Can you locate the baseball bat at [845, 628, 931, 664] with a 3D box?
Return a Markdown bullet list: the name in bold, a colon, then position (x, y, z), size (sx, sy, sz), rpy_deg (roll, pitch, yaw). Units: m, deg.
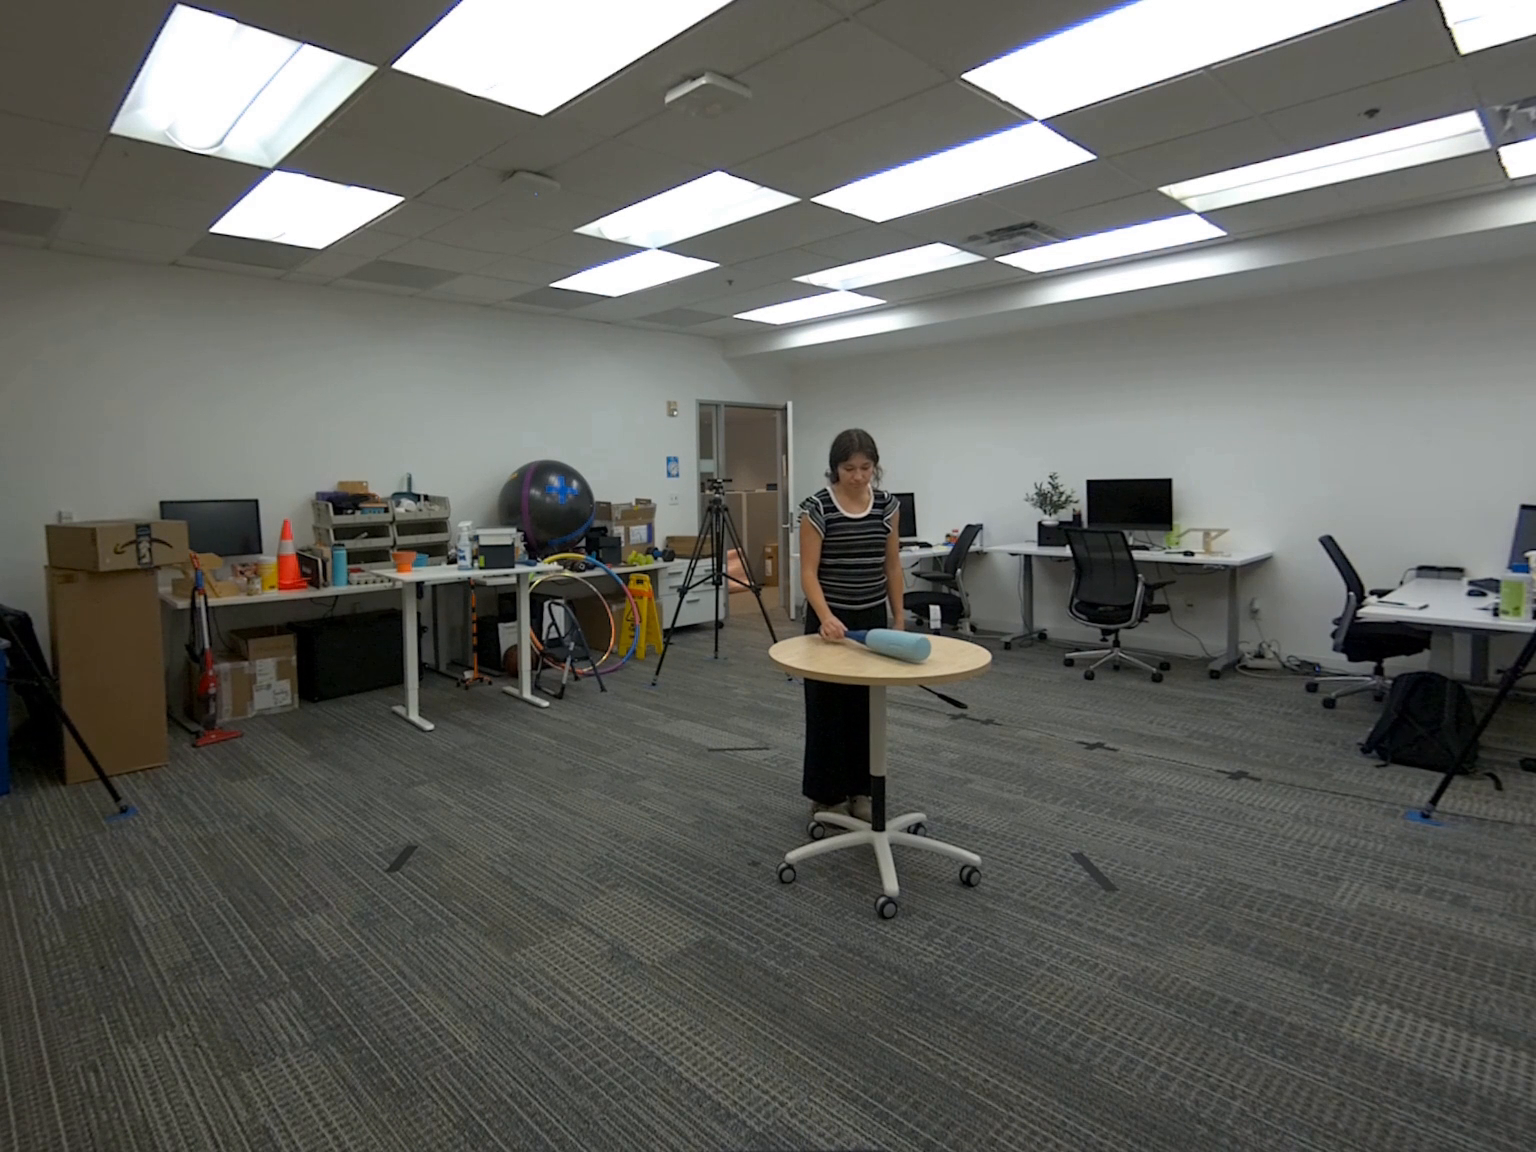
- **baseball bat**: position (0.360, 0.228, 3.019), size (0.087, 0.089, 0.557), rpy_deg (-4, 5, -31)
